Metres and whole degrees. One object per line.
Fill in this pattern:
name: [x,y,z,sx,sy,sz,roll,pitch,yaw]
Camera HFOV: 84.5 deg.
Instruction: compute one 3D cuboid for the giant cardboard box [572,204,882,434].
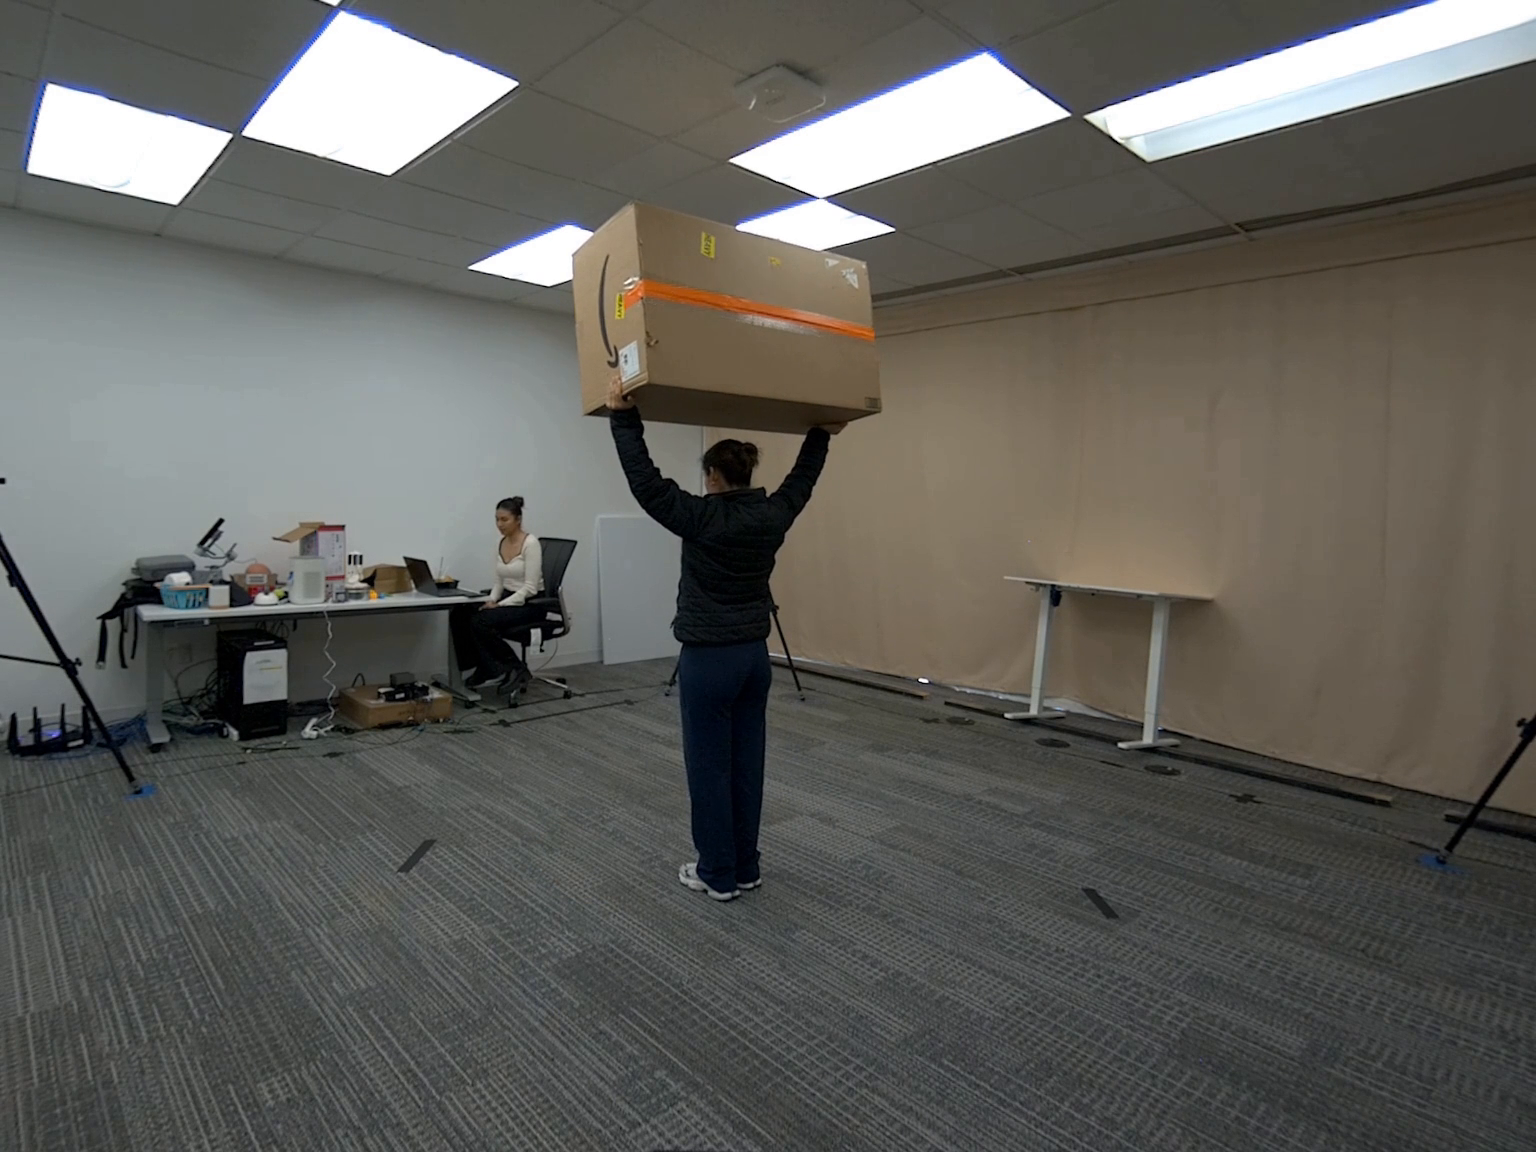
giant cardboard box: [-0.130,-0.850,2.985,1.004,0.585,0.456,-3,-3,-40]
